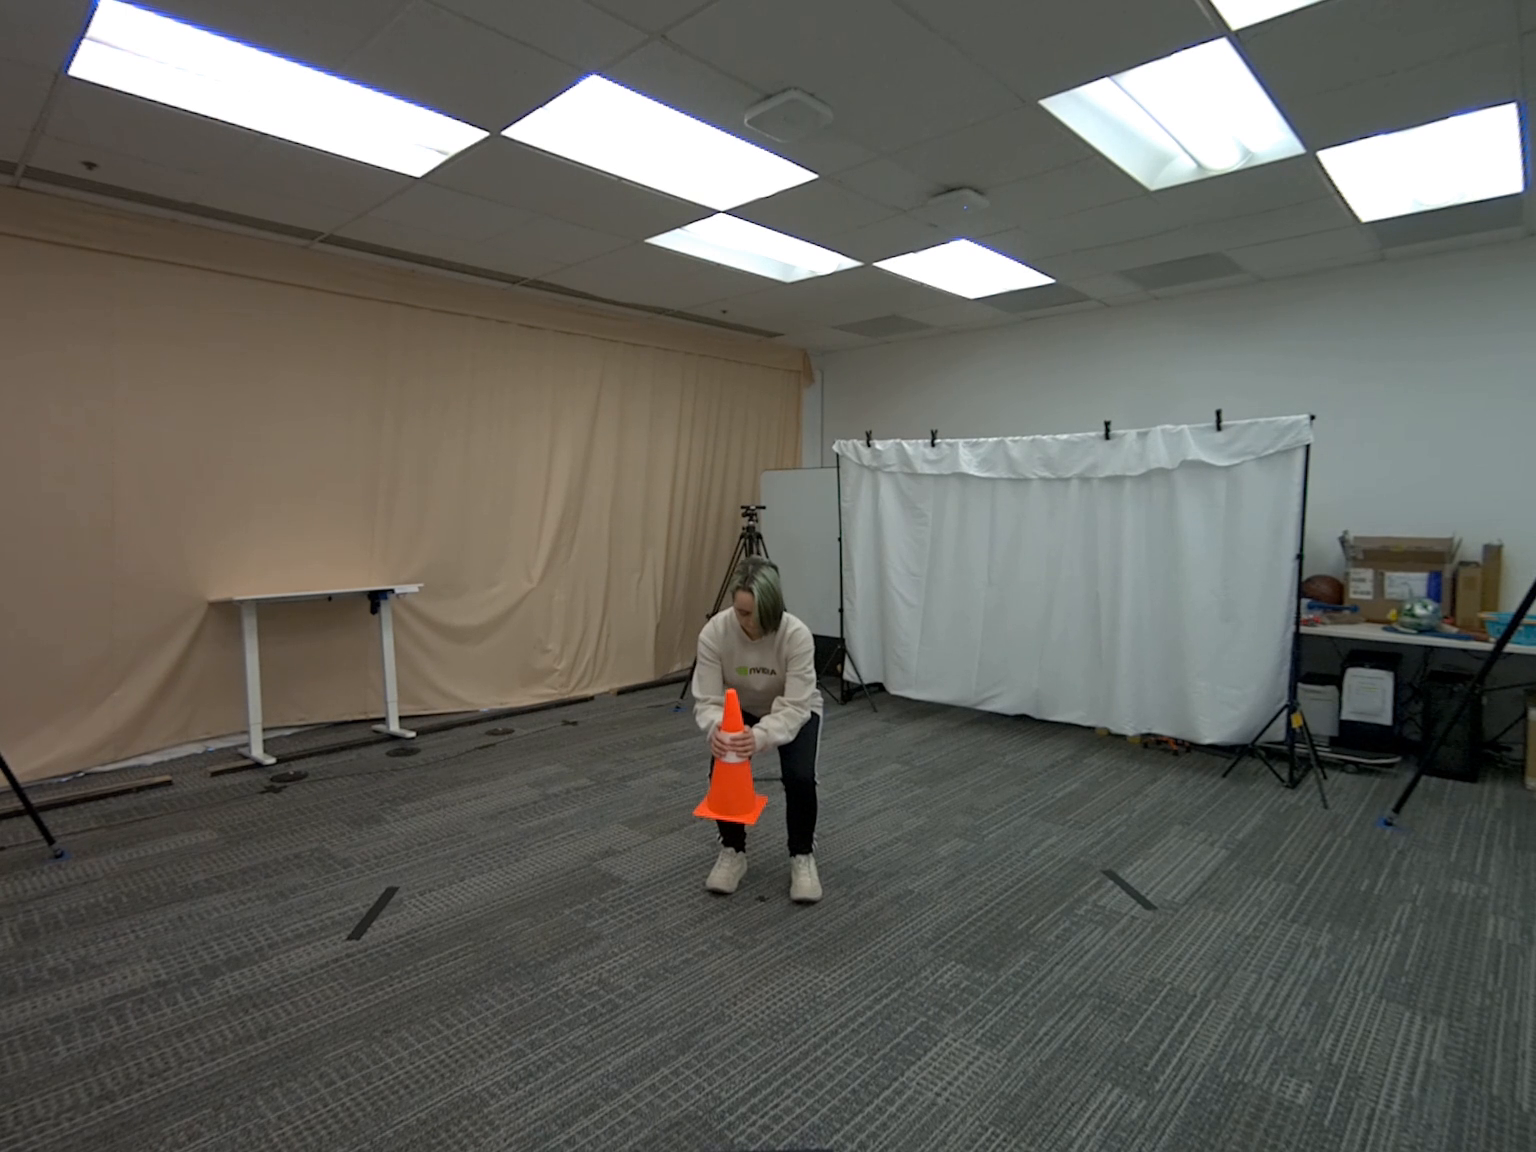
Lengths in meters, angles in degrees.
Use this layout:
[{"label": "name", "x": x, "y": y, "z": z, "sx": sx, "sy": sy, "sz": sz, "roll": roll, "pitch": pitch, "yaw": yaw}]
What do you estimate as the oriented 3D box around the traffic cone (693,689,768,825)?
[{"label": "traffic cone", "x": -0.113, "y": 0.538, "z": 2.639, "sx": 0.209, "sy": 0.382, "sz": 0.200, "roll": 1, "pitch": 8, "yaw": 18}]
